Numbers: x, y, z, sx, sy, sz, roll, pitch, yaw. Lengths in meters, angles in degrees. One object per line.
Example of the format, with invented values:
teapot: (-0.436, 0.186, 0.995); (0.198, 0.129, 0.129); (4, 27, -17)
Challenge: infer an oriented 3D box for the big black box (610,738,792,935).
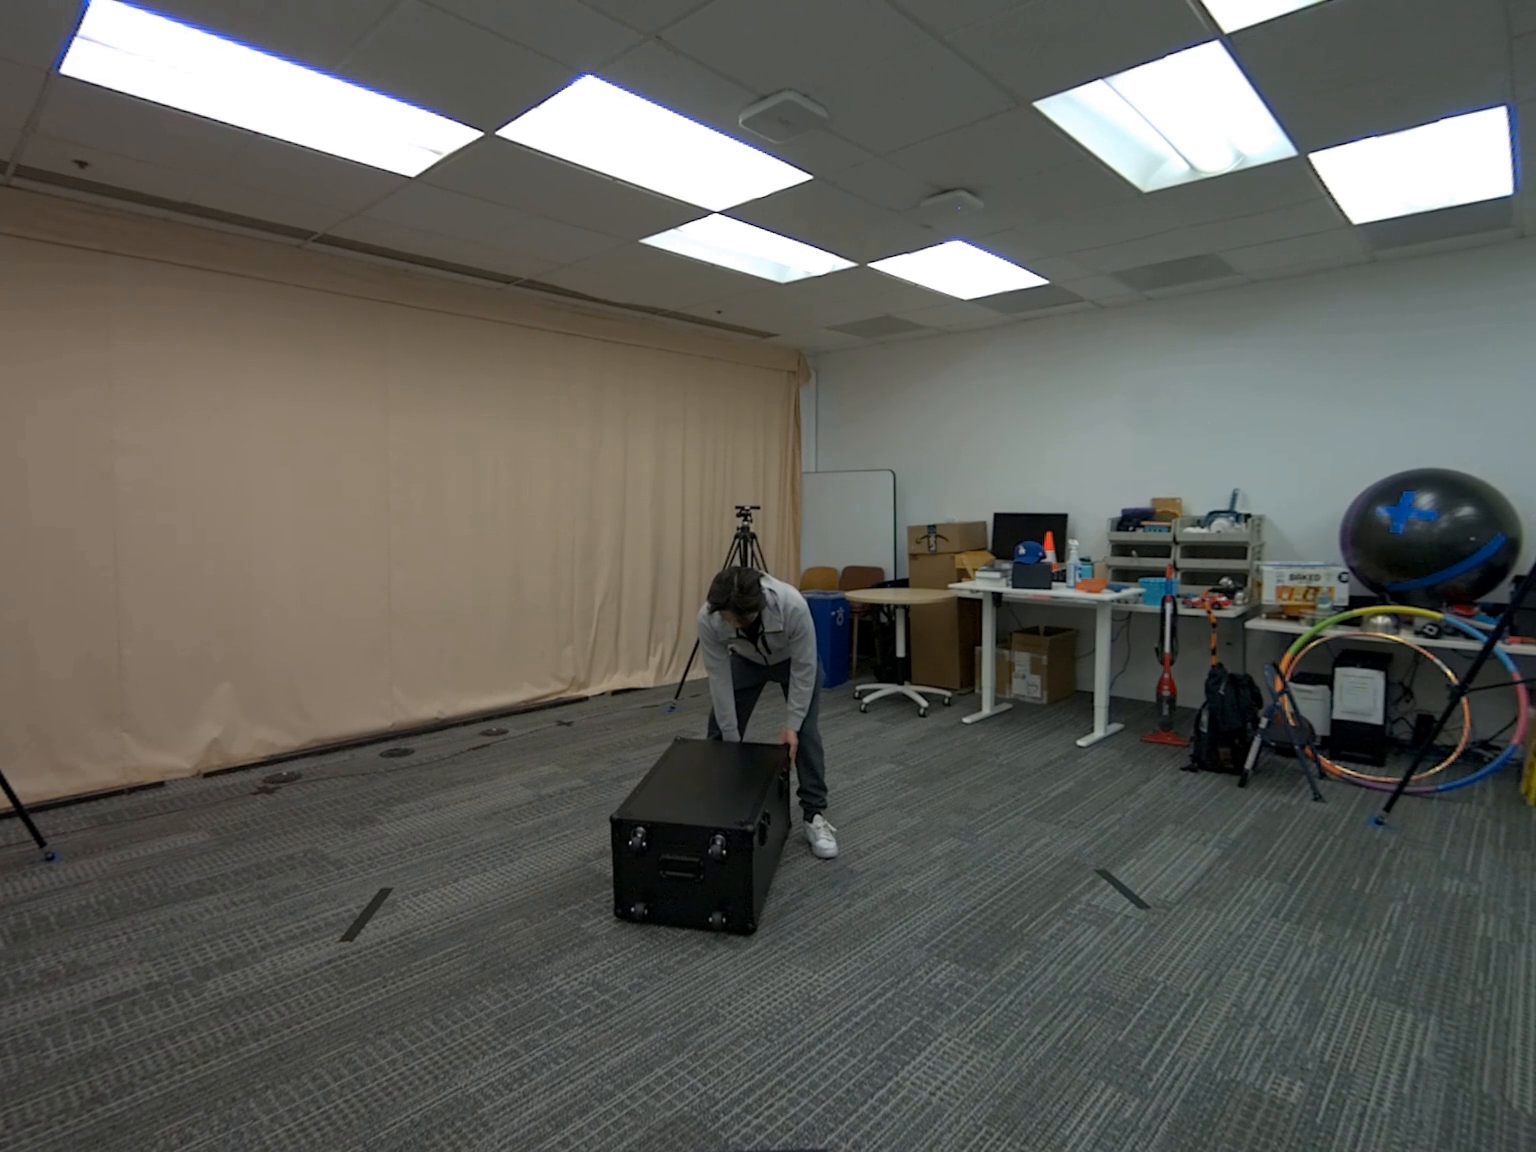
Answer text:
big black box: (-0.221, 0.921, 3.084); (0.528, 0.394, 0.854); (0, 7, 11)
